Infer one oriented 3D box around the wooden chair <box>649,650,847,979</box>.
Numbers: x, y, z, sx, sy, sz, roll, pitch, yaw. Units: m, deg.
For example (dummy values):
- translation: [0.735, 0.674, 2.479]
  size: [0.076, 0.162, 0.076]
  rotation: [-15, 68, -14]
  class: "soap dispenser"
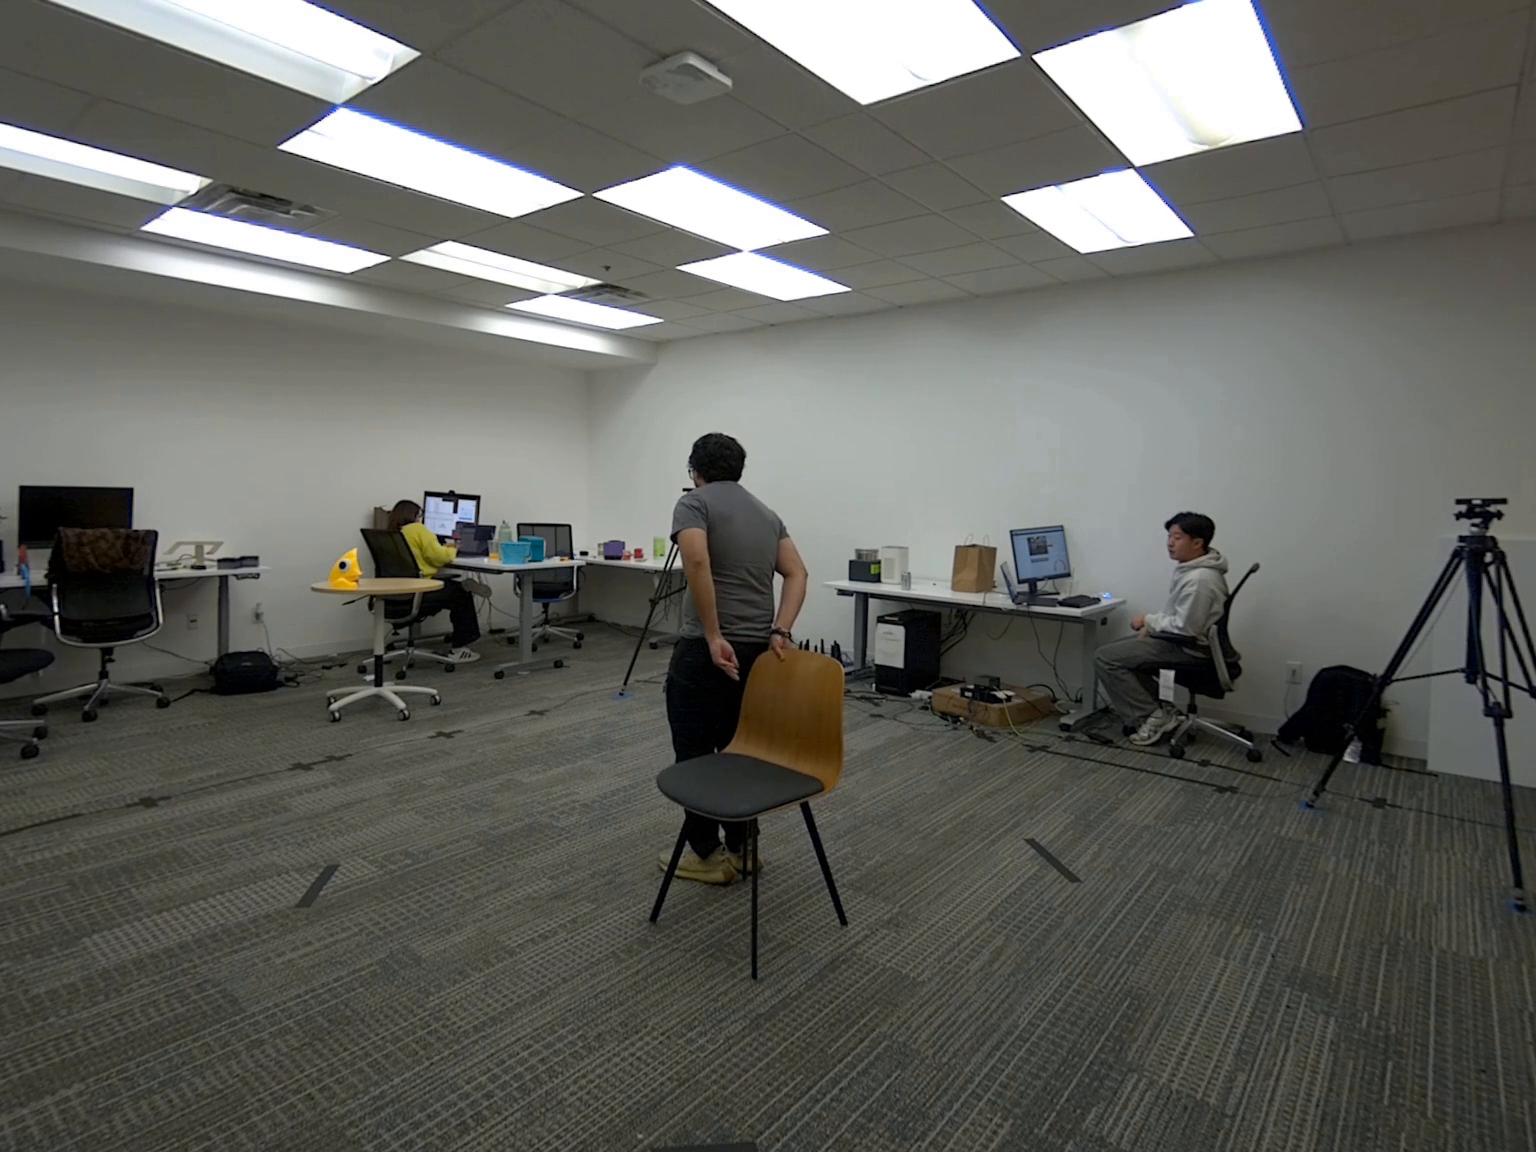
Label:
- translation: [-0.059, 0.688, 2.689]
  size: [0.495, 0.877, 0.506]
  rotation: [6, 2, 43]
  class: "wooden chair"
